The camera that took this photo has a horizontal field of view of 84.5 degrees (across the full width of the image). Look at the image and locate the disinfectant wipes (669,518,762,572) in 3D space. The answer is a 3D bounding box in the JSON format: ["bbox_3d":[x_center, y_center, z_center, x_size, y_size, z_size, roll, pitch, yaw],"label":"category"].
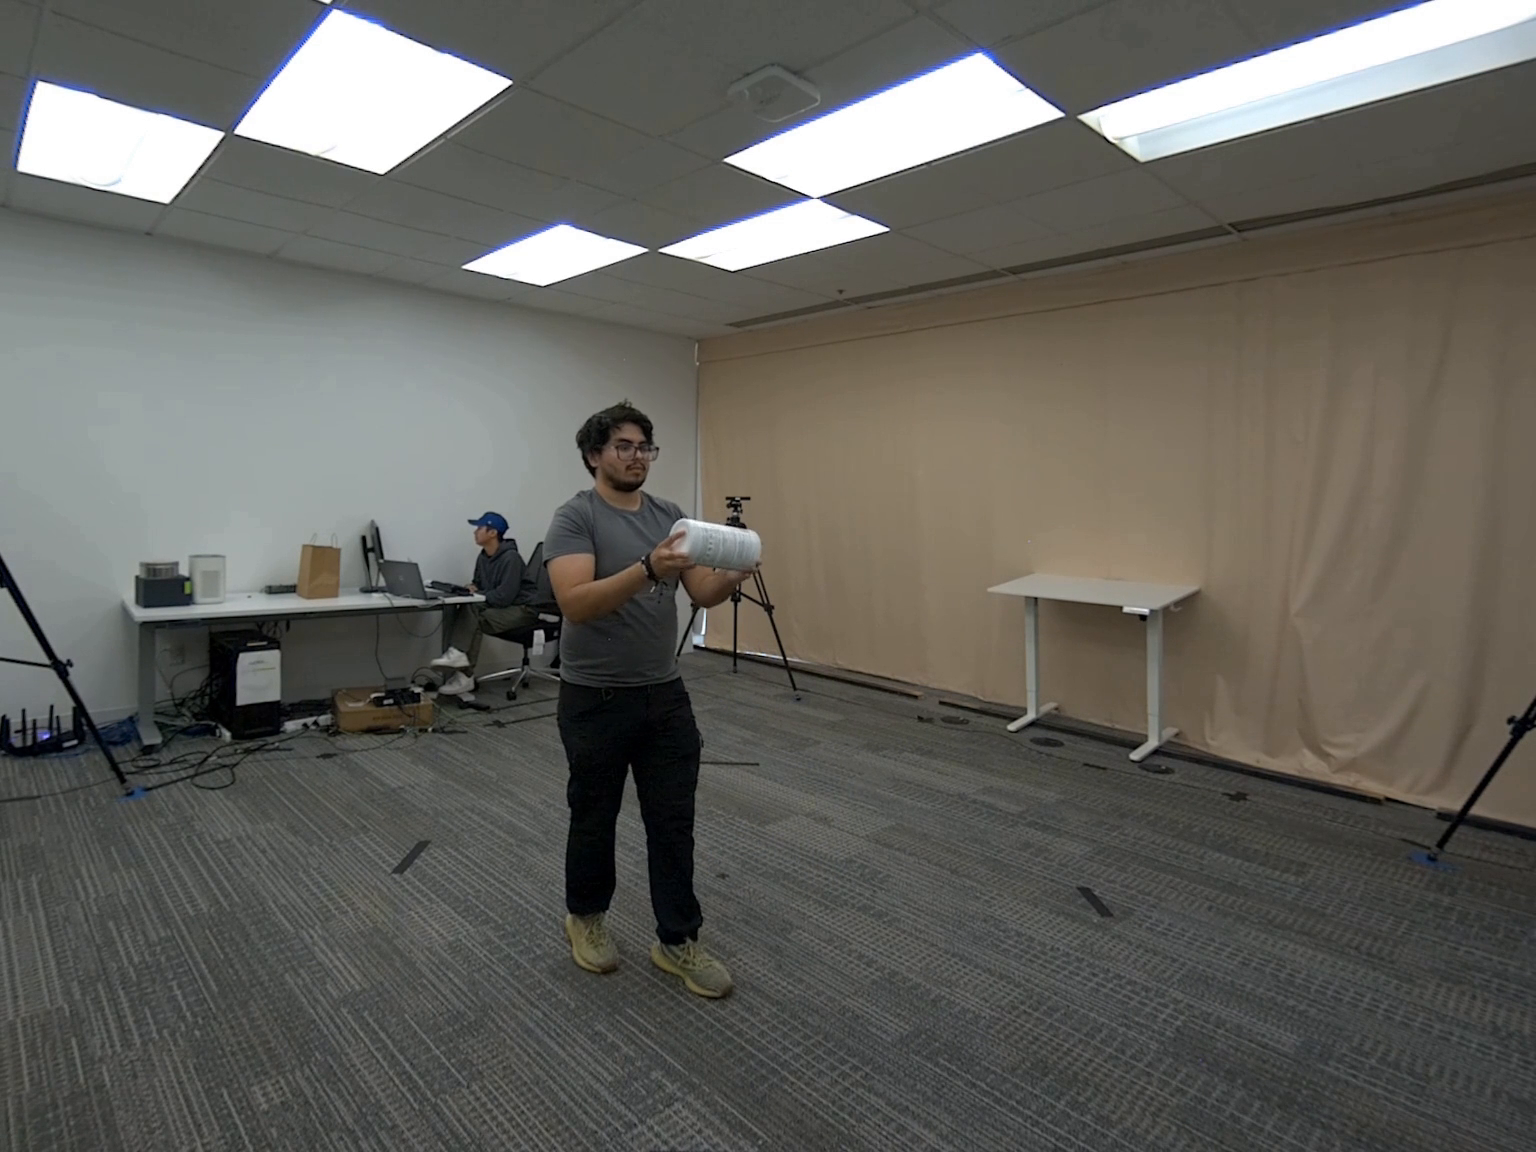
[{"bbox_3d":[-0.133,-0.074,2.086,0.212,0.118,0.121,8,0,-37],"label":"disinfectant wipes"}]
